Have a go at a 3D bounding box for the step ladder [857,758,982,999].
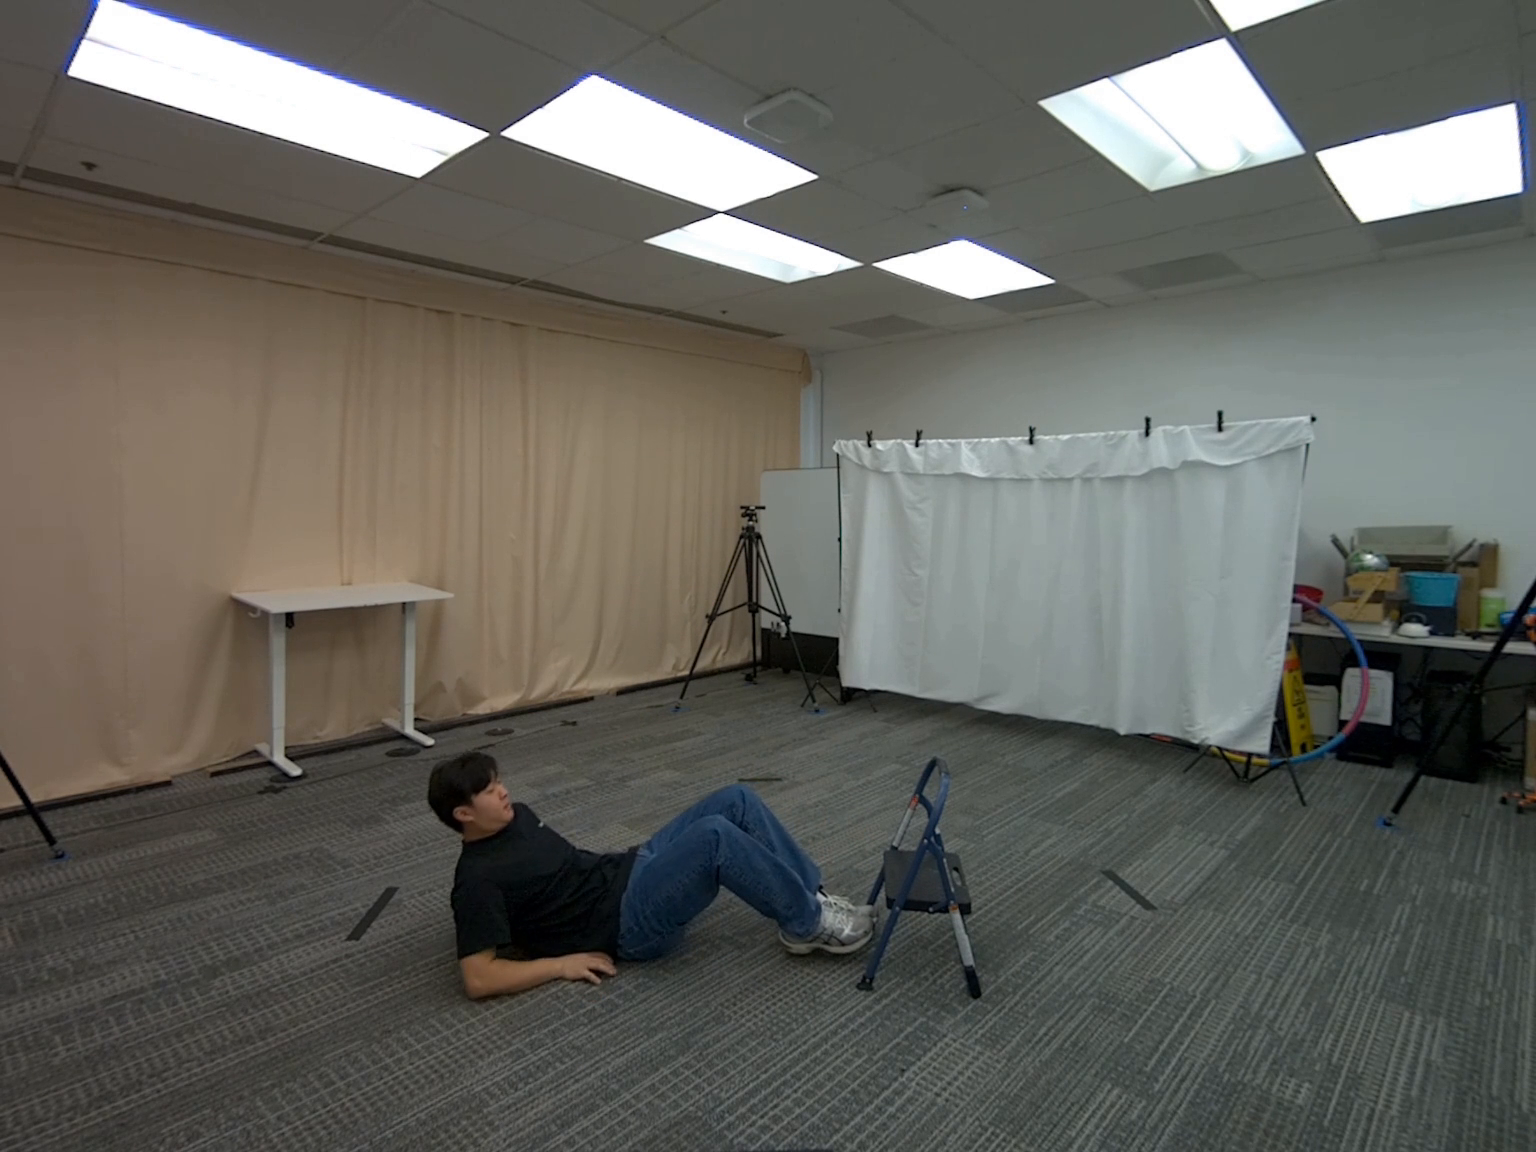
[{"bbox_3d":[0.461,0.874,2.584,0.352,0.604,0.429,-1,4,5],"label":"step ladder"}]
